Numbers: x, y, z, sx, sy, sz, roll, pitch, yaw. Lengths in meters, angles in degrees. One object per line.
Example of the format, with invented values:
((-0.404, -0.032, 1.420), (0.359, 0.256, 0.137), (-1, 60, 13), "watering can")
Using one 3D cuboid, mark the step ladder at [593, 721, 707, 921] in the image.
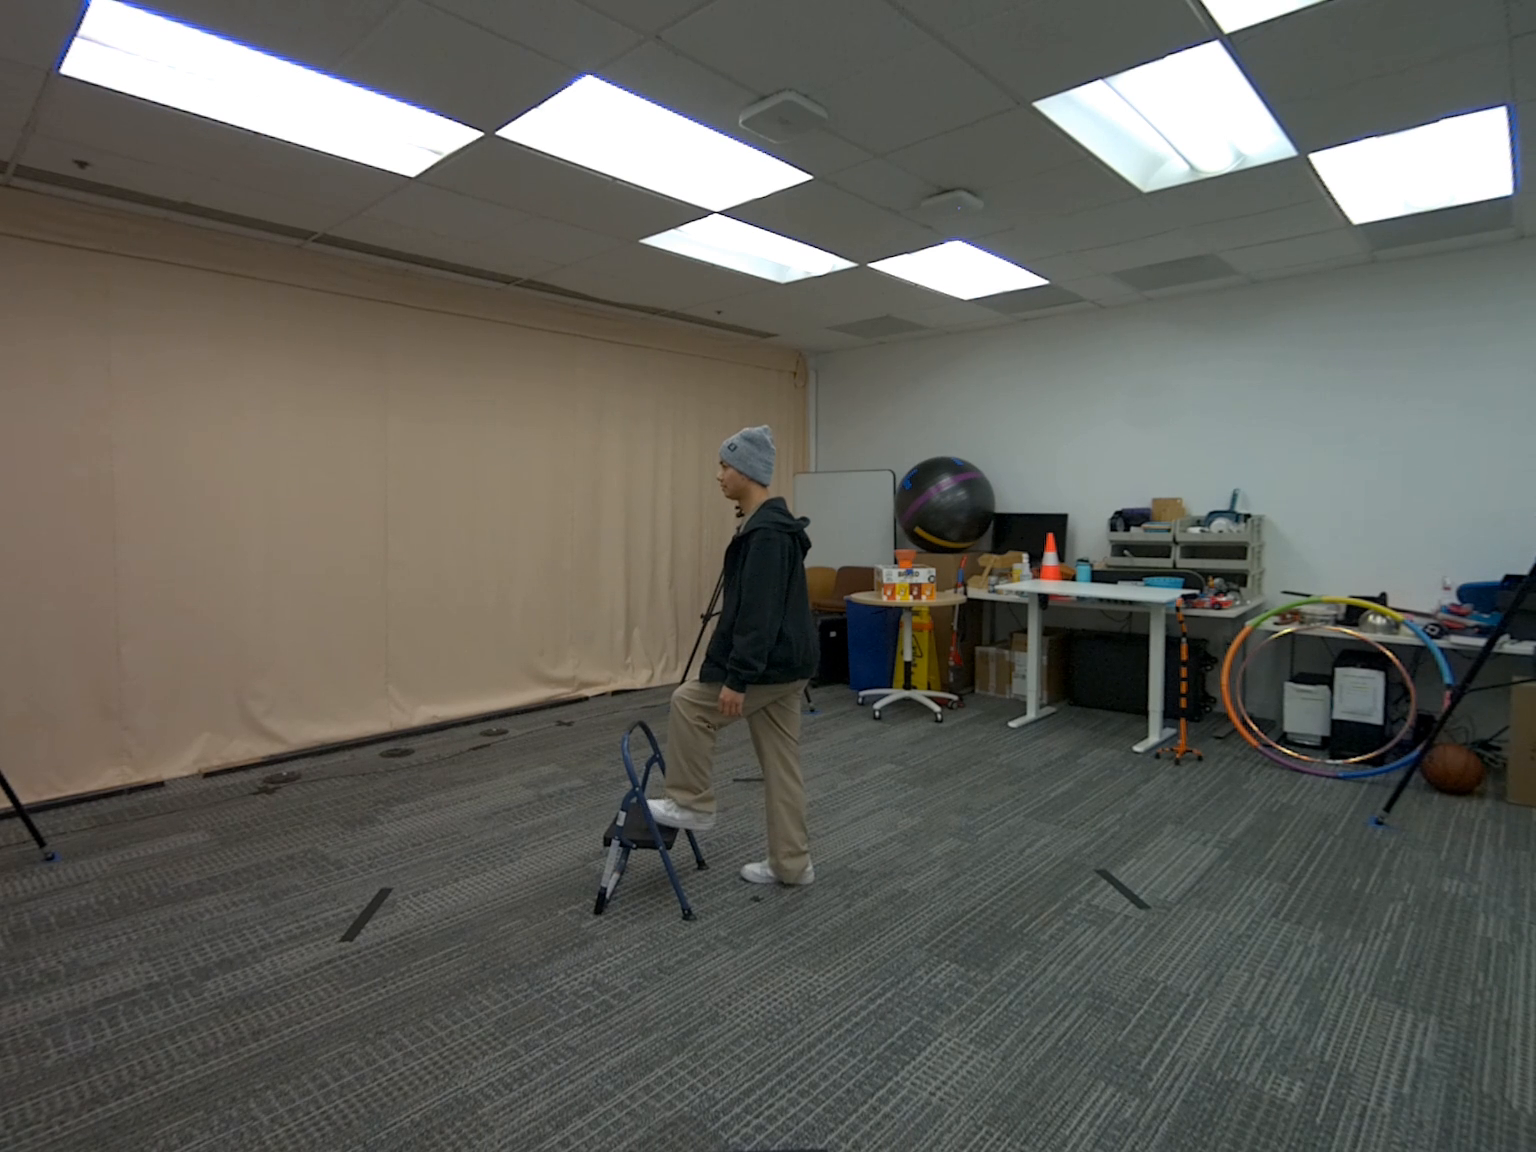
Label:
((-0.412, 0.843, 3.042), (0.351, 0.605, 0.430), (1, 4, 3), "step ladder")
